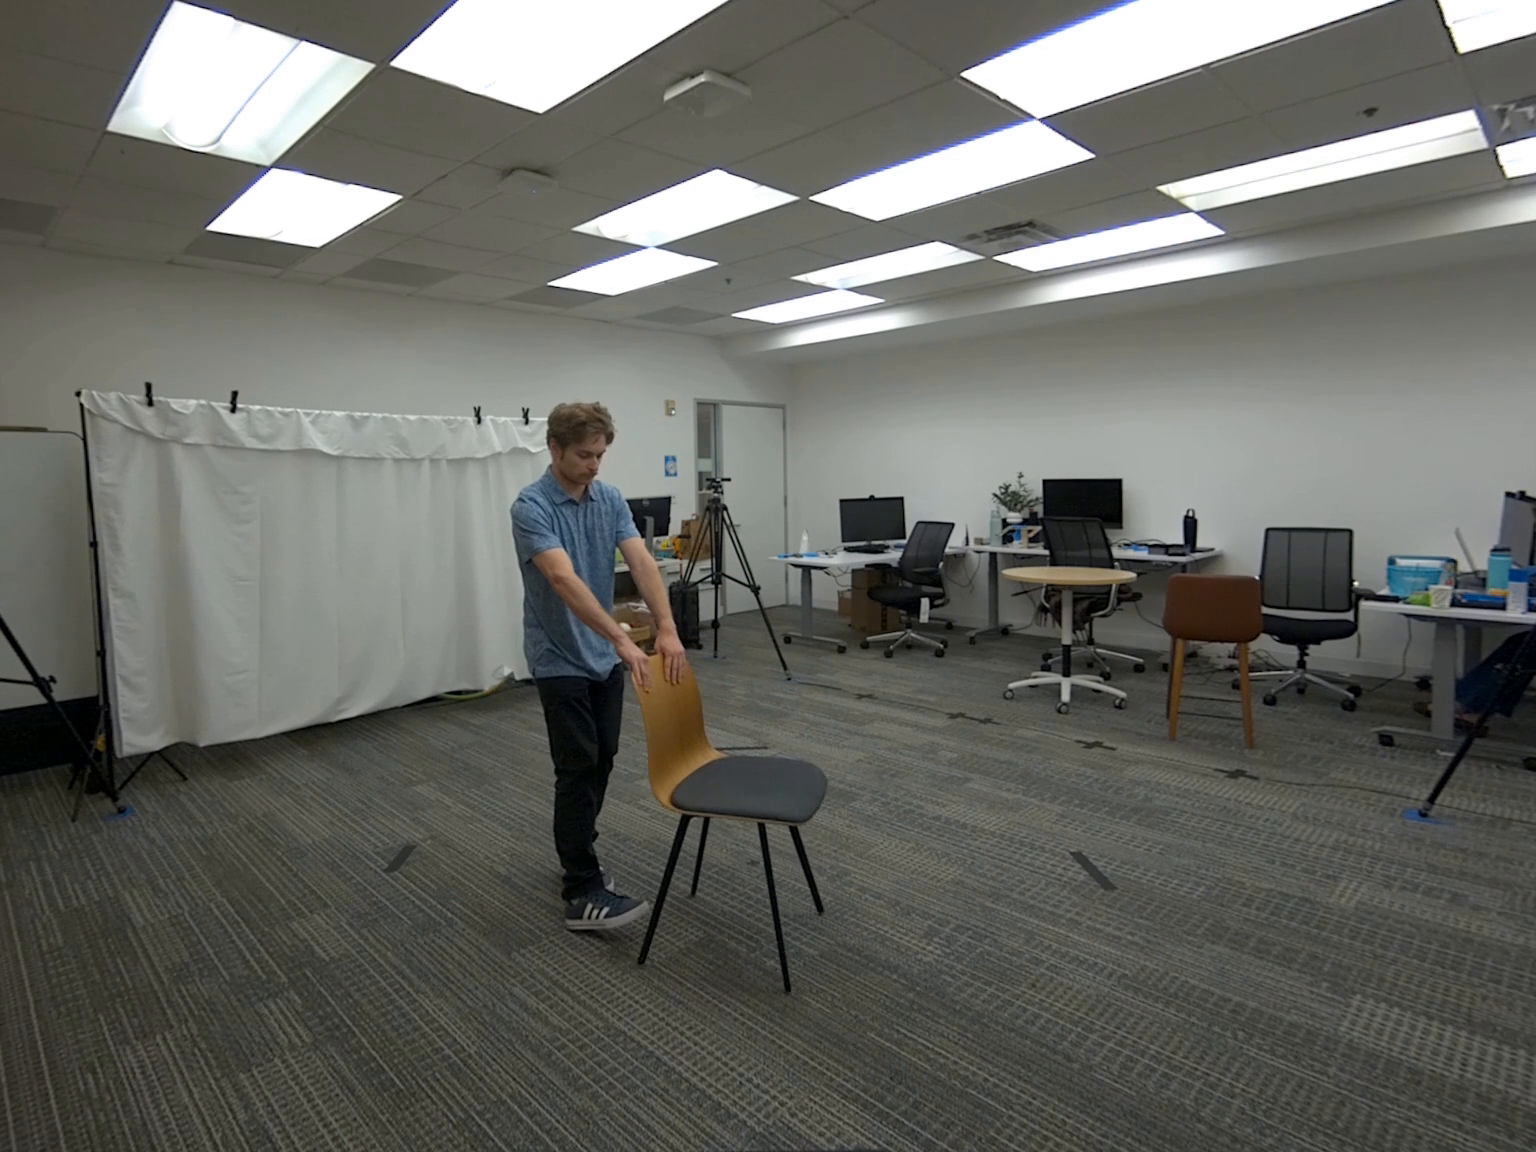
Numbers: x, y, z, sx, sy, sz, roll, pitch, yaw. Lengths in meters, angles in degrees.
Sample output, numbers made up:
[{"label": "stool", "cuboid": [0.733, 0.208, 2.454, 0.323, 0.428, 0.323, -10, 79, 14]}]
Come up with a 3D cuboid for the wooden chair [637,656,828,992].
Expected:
[{"label": "wooden chair", "cuboid": [-0.093, 0.674, 2.574, 0.531, 0.875, 0.472, -4, 3, 17]}]
